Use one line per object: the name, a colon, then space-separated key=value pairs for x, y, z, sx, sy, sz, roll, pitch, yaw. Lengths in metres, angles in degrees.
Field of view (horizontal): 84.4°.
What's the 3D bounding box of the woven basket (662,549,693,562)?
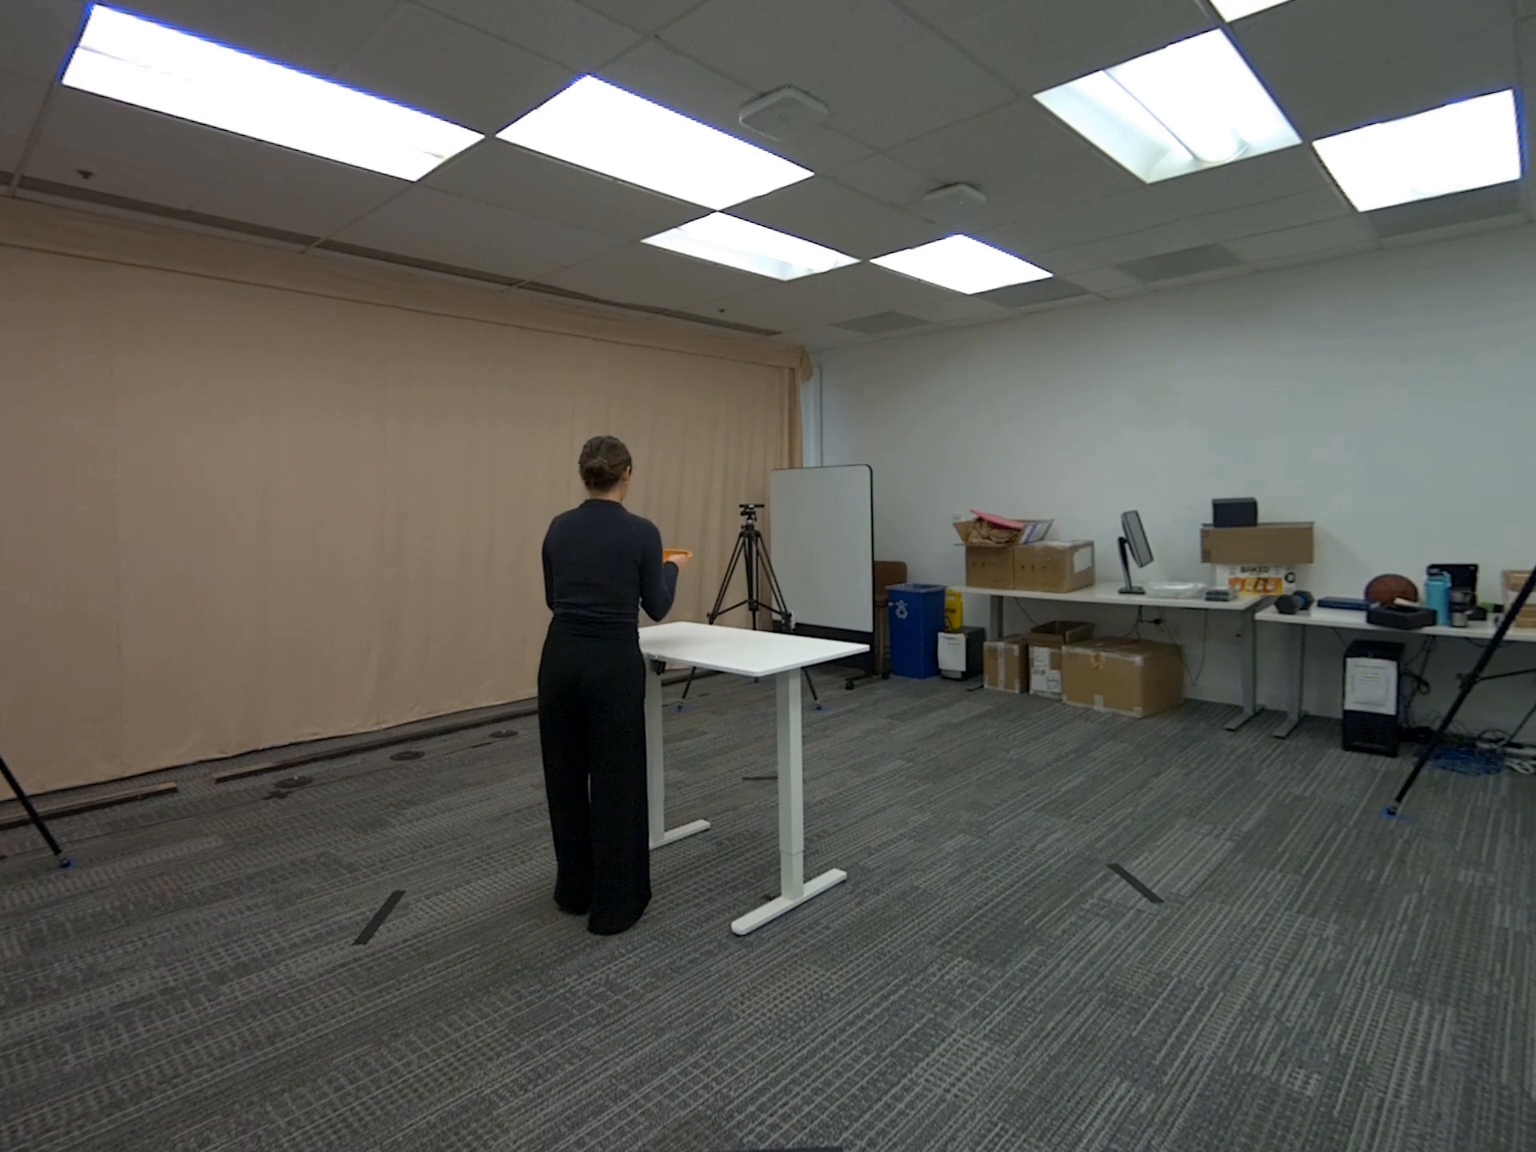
woven basket: x=-0.478 y=-0.036 z=3.123 sx=0.362 sy=0.073 sz=0.246 roll=5 pitch=14 yaw=41
